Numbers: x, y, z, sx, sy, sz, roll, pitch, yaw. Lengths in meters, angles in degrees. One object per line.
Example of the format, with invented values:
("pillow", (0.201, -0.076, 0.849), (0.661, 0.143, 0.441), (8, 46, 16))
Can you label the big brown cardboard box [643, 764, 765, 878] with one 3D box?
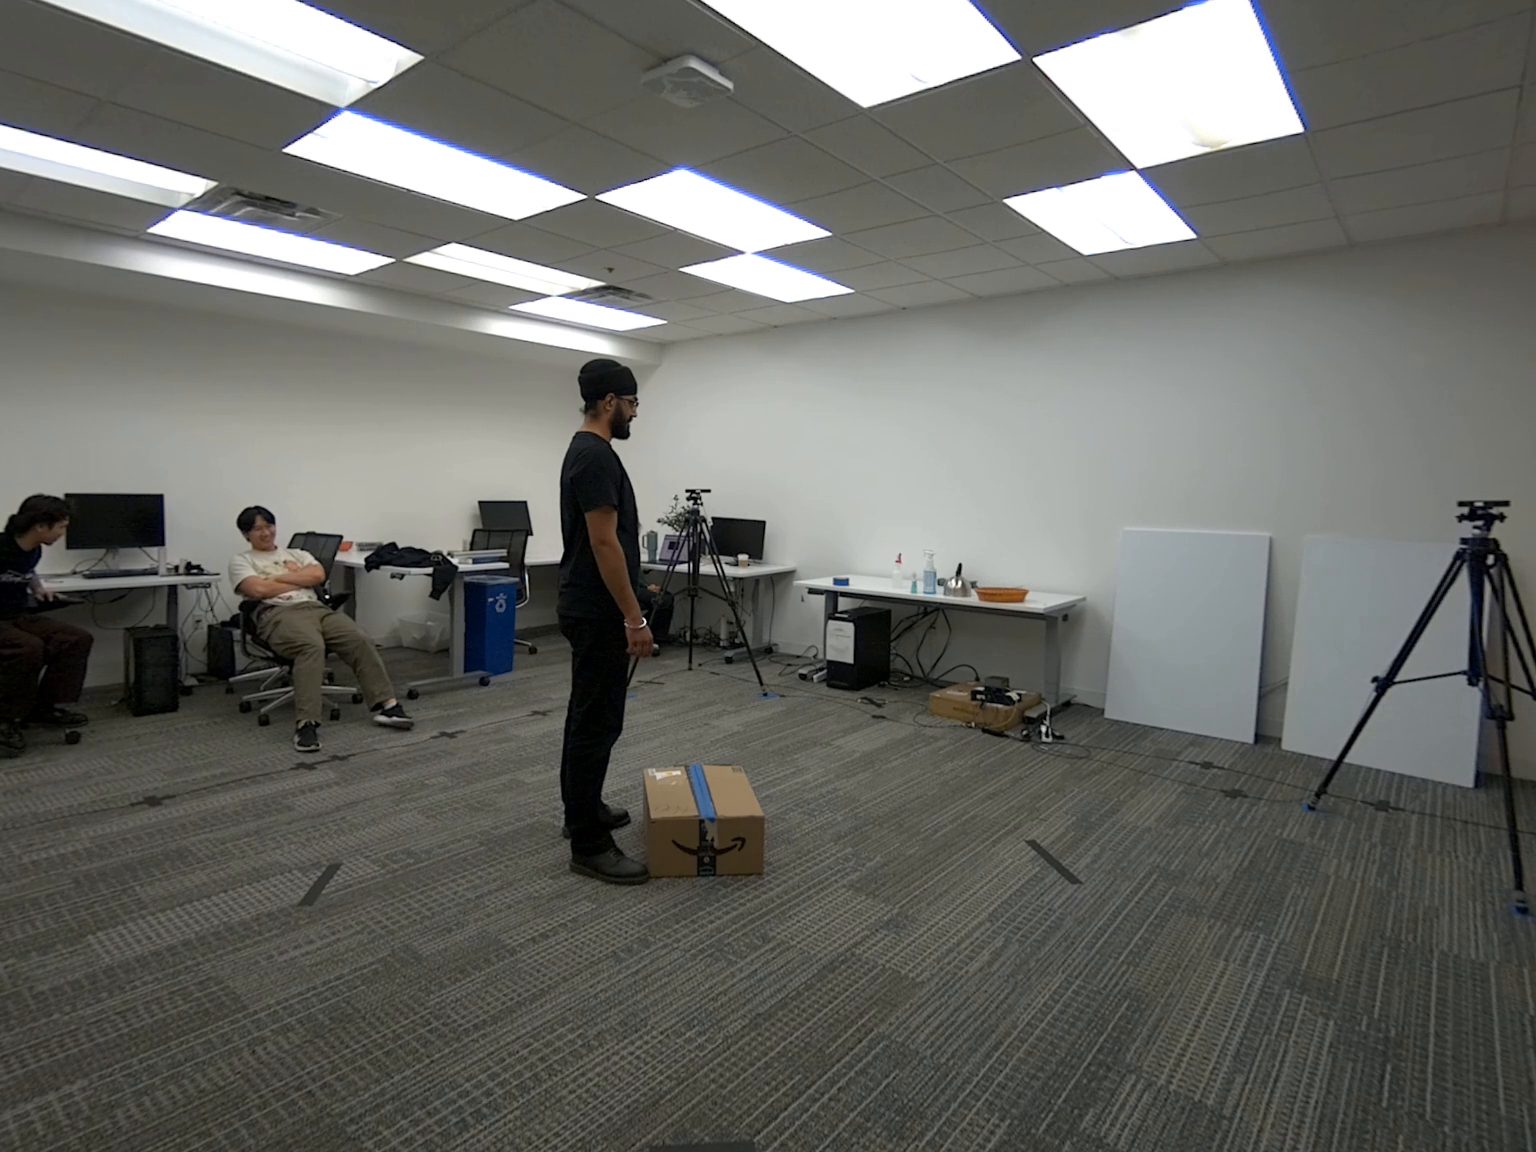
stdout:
("big brown cardboard box", (-0.277, 0.947, 3.338), (0.413, 0.232, 0.598), (1, 6, -11))
